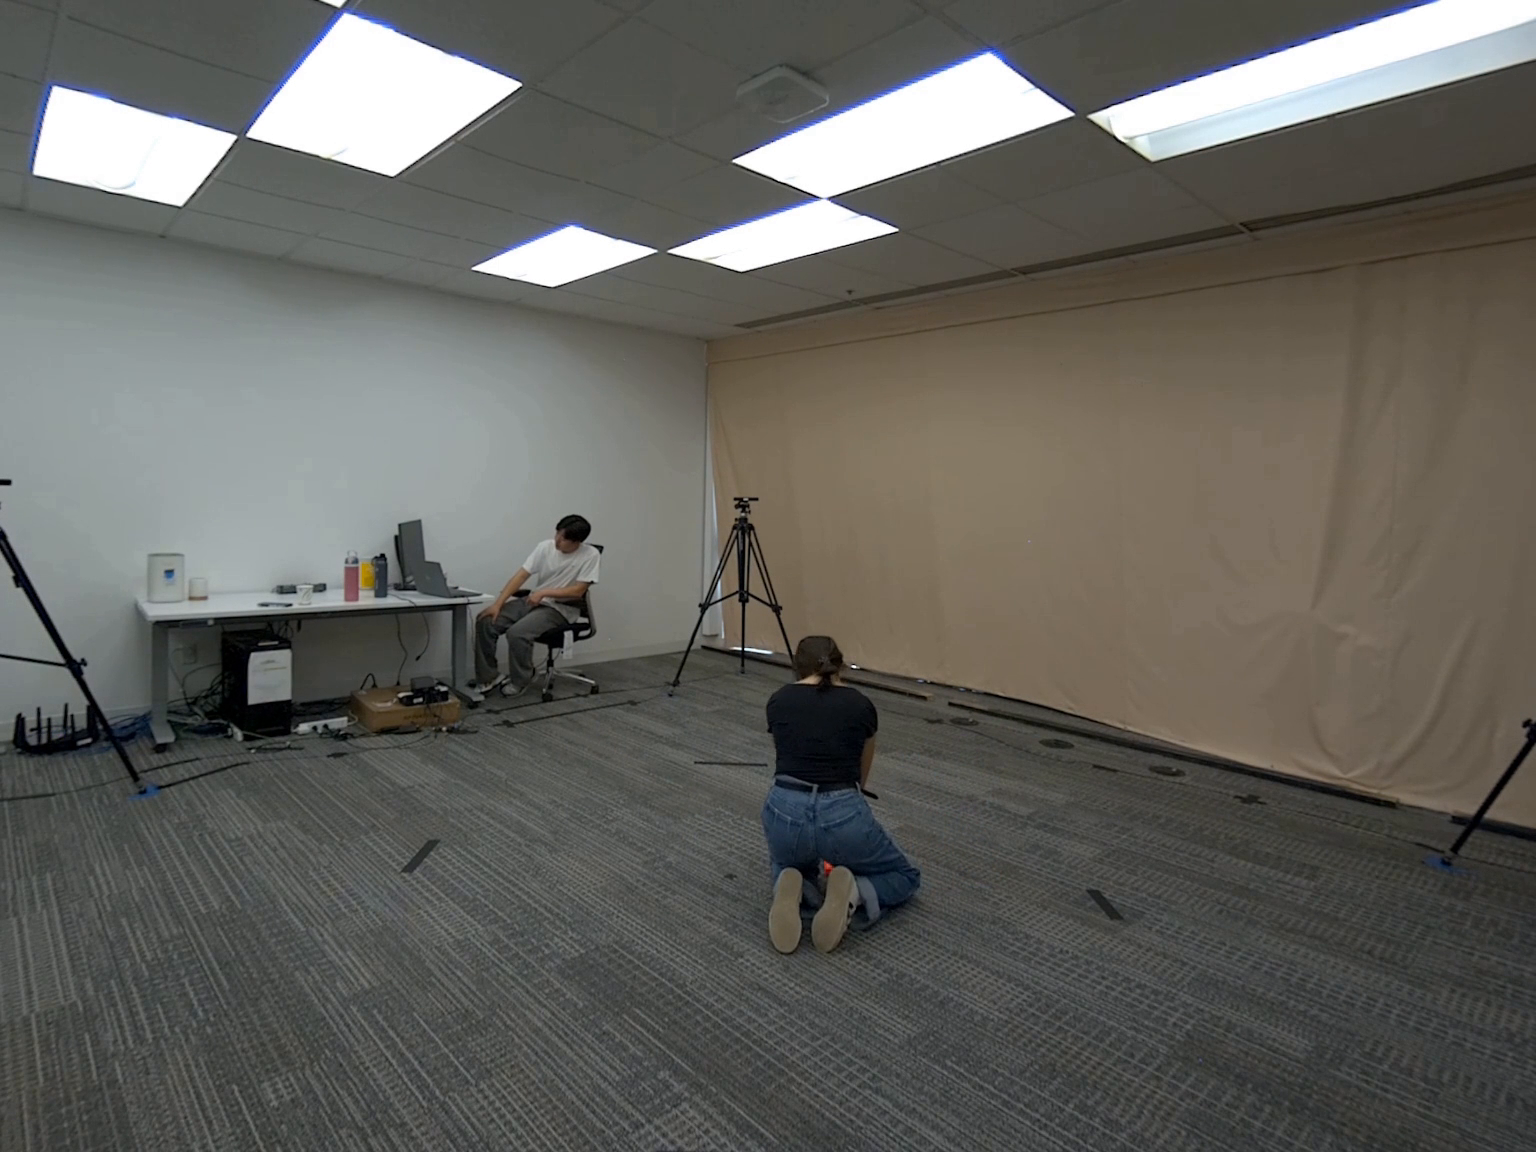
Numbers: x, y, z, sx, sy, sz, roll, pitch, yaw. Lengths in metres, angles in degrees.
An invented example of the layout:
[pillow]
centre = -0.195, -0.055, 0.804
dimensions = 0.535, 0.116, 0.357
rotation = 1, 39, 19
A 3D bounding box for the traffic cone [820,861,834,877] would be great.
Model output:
[traffic cone]
centre = 0.260, 1.058, 3.291
dimensions = 0.207, 0.201, 0.384
rotation = 5, 16, 9
